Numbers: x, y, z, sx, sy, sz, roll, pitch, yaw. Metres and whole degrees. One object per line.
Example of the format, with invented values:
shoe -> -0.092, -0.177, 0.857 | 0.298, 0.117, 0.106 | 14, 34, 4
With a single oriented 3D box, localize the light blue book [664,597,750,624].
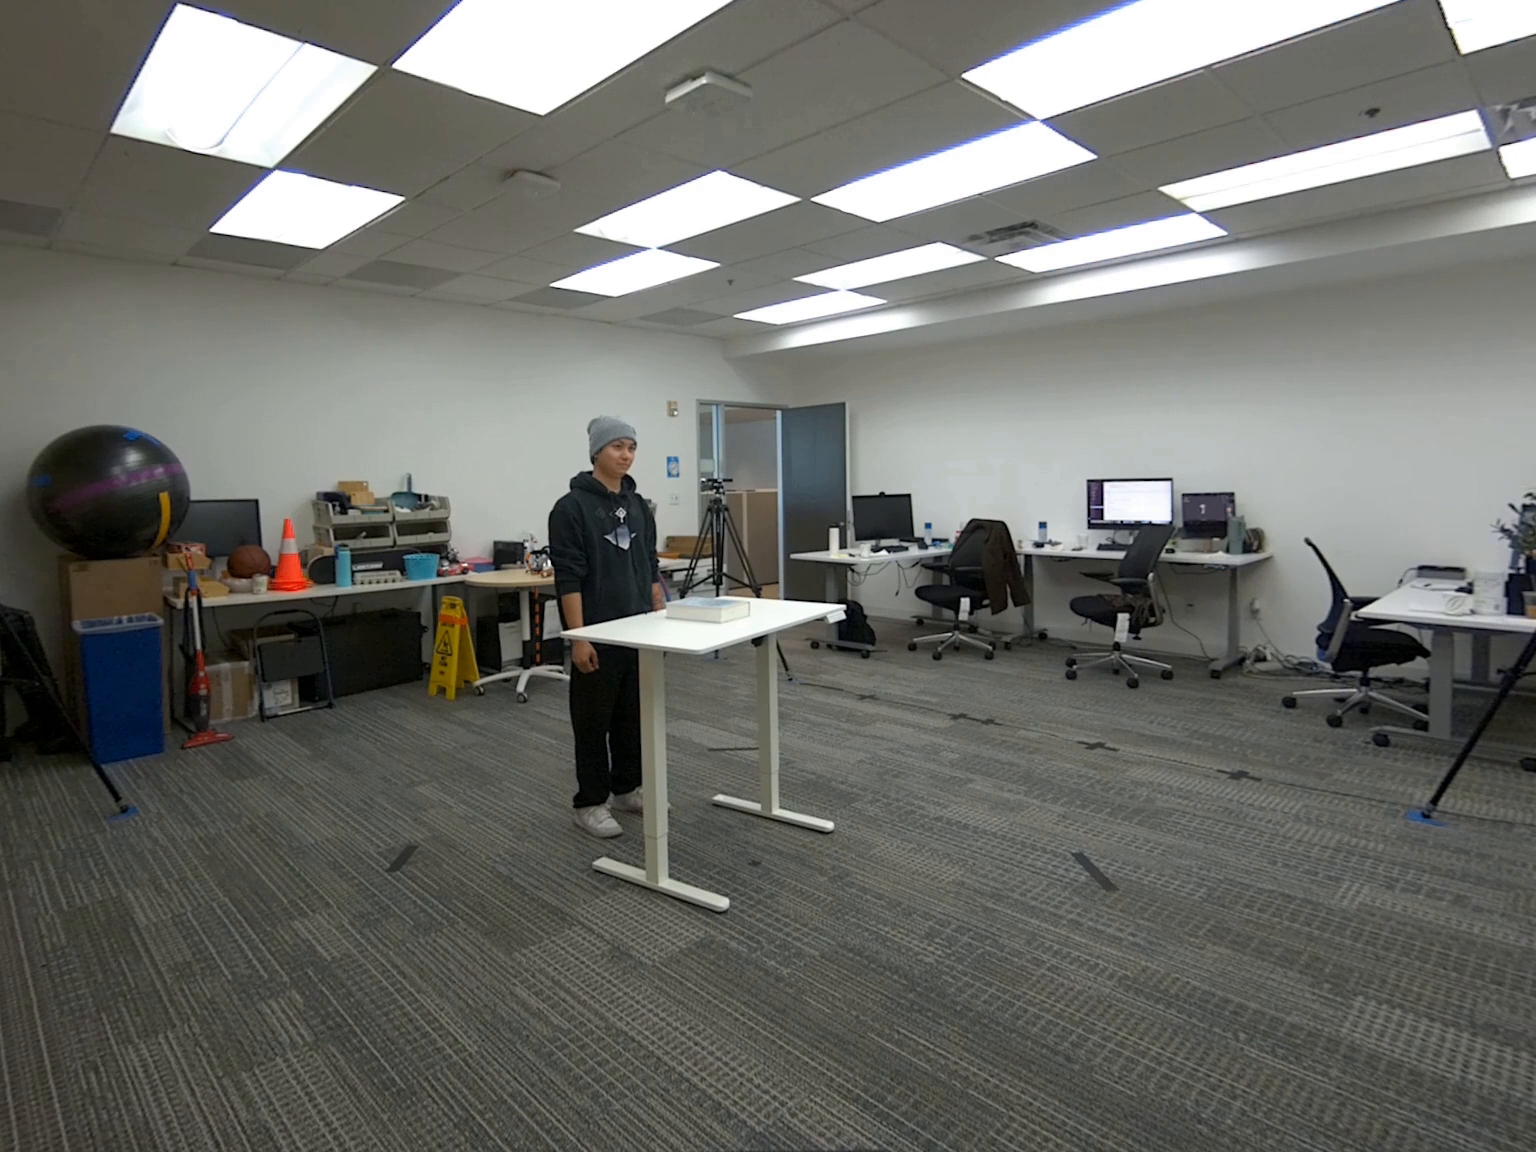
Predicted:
light blue book -> -0.227, 0.128, 3.196 | 0.268, 0.059, 0.187 | 4, 8, 34
